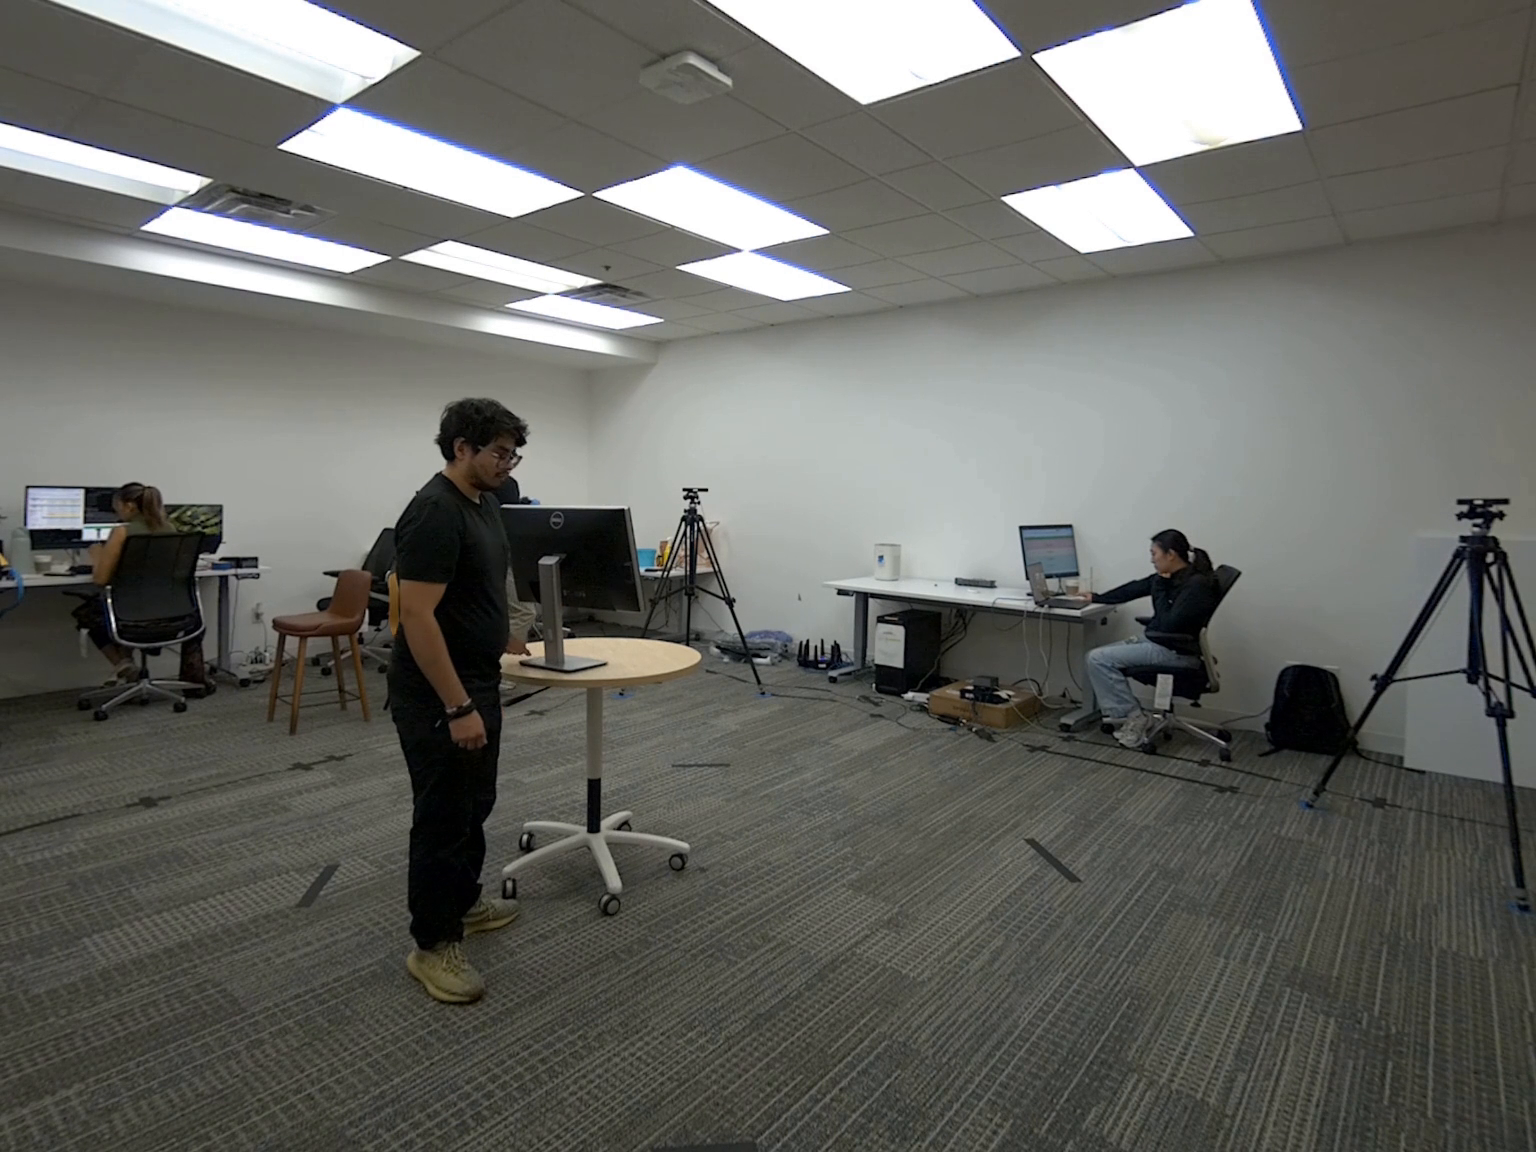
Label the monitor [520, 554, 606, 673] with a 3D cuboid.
[{"bbox_3d":[-0.721,0.035,2.875,0.582,0.549,0.206,3,10,30],"label":"monitor"}]
